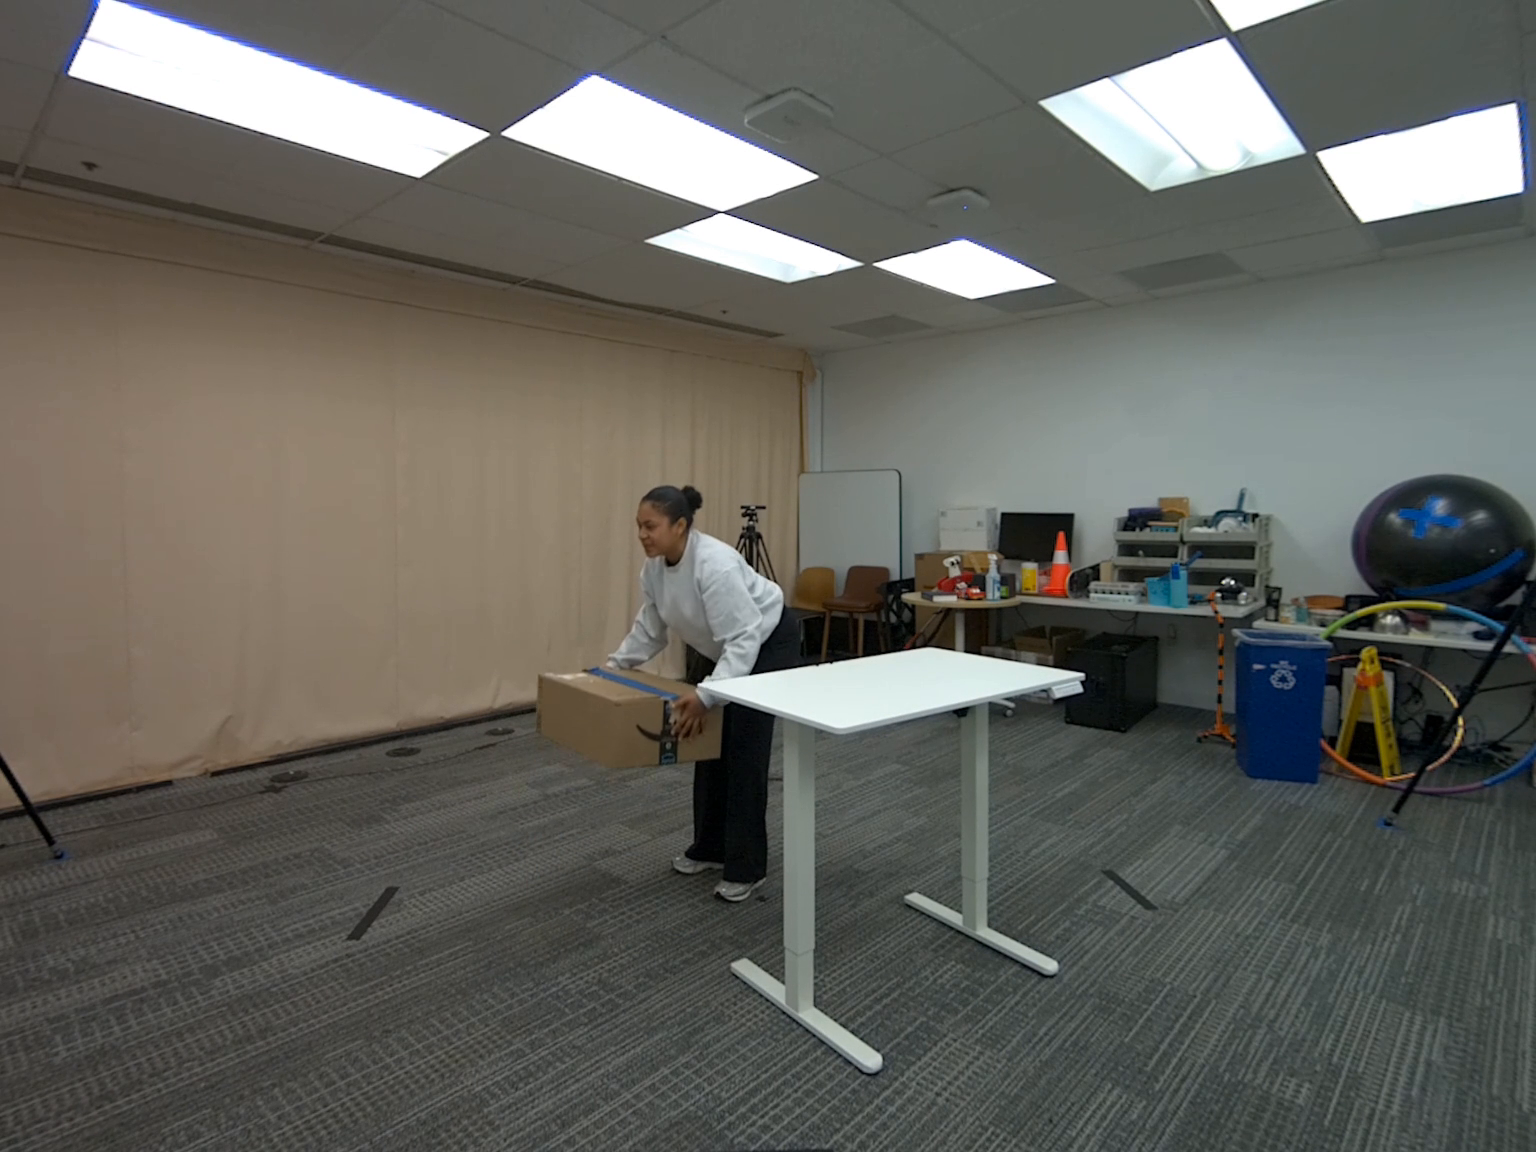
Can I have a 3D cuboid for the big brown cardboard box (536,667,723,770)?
[{"bbox_3d":[-0.487,0.483,2.936,0.404,0.233,0.608,2,2,-39],"label":"big brown cardboard box"}]
